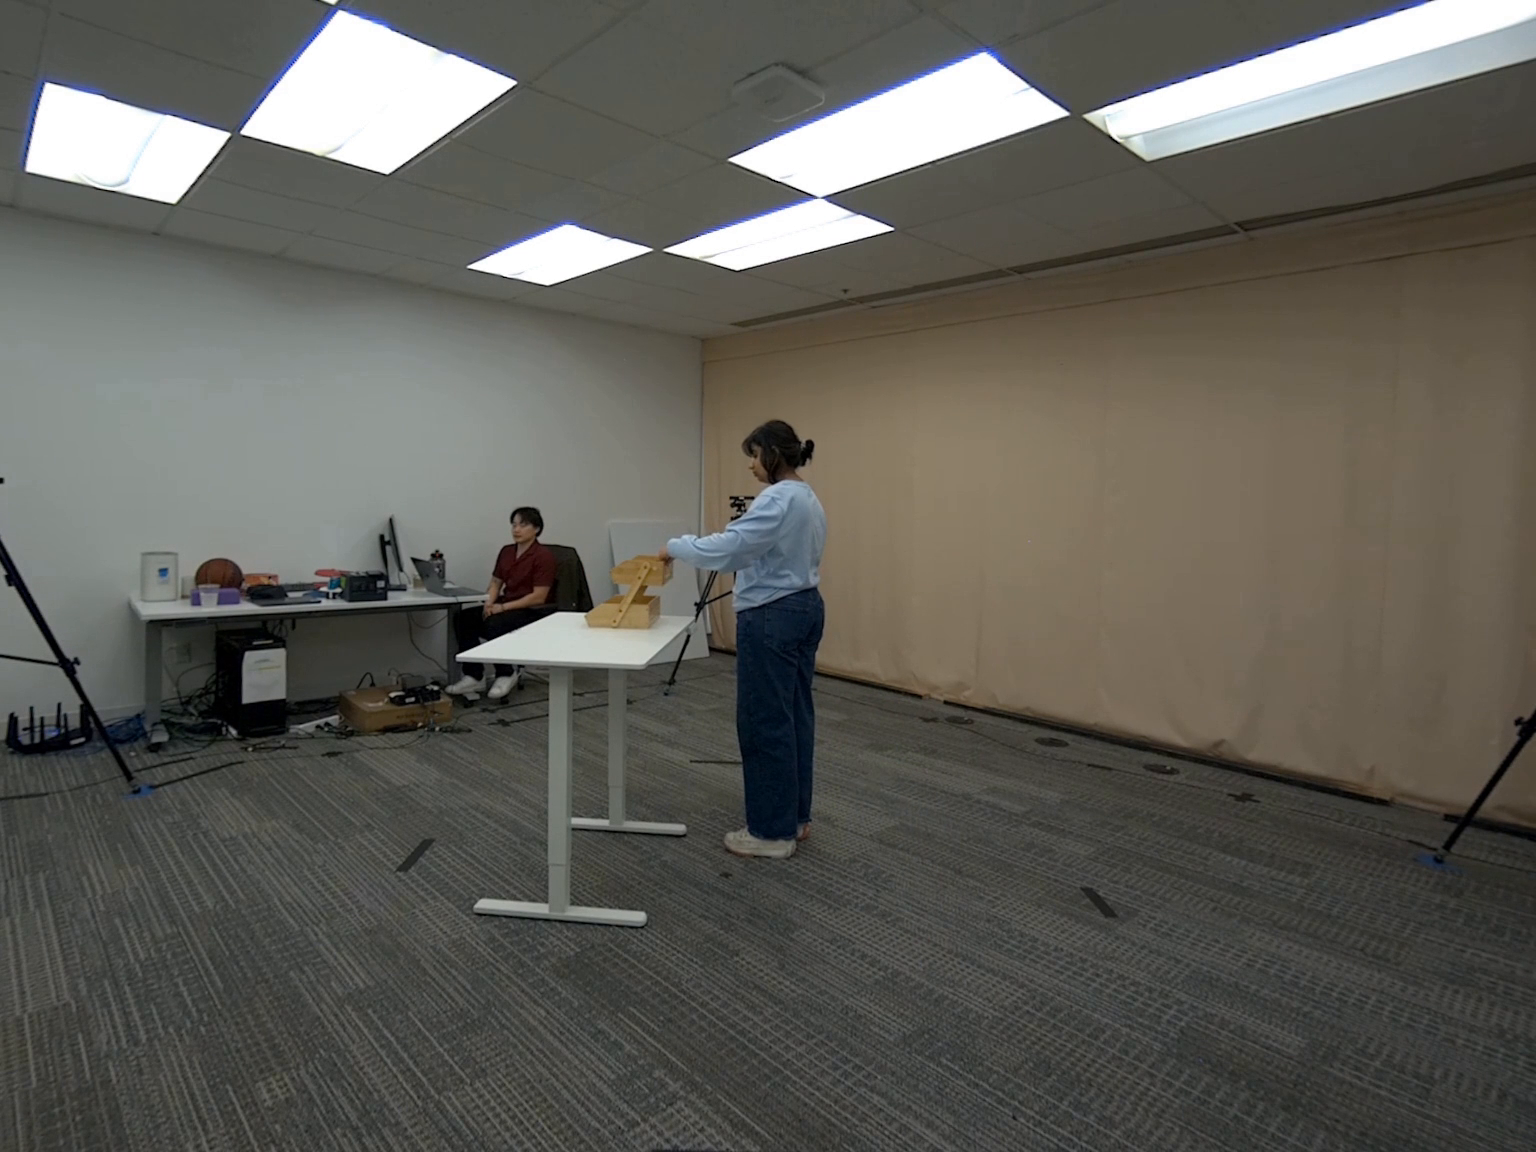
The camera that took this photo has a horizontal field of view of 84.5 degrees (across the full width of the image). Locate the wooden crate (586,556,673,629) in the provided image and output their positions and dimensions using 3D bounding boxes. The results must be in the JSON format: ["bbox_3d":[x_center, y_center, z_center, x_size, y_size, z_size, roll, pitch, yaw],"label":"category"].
[{"bbox_3d":[-0.554,0.054,3.359,0.303,0.272,0.325,2,4,2],"label":"wooden crate"}]
